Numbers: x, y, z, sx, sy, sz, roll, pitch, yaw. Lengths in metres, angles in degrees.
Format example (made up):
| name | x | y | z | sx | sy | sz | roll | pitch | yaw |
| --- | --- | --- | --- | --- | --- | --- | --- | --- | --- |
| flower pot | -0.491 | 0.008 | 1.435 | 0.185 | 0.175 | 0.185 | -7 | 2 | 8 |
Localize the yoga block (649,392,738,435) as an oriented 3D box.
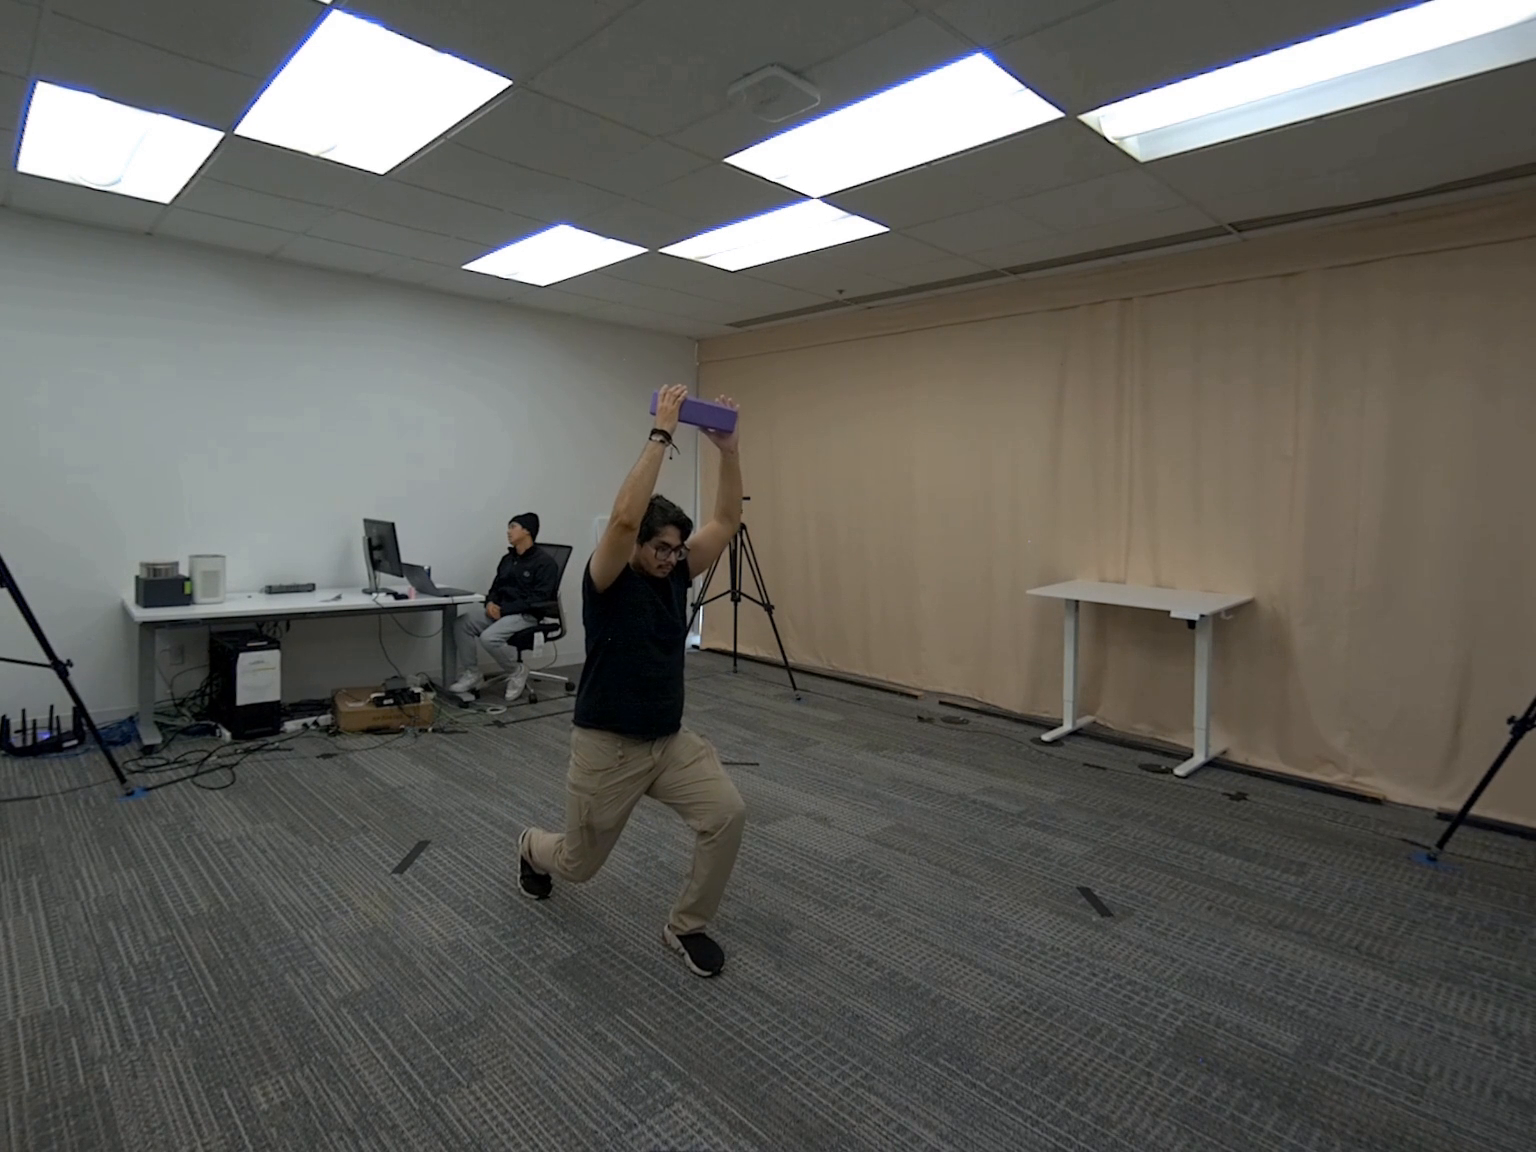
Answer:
| name | x | y | z | sx | sy | sz | roll | pitch | yaw |
| --- | --- | --- | --- | --- | --- | --- | --- | --- | --- |
| yoga block | -0.232 | -0.498 | 2.515 | 0.153 | 0.076 | 0.224 | 18 | 9 | 38 |
